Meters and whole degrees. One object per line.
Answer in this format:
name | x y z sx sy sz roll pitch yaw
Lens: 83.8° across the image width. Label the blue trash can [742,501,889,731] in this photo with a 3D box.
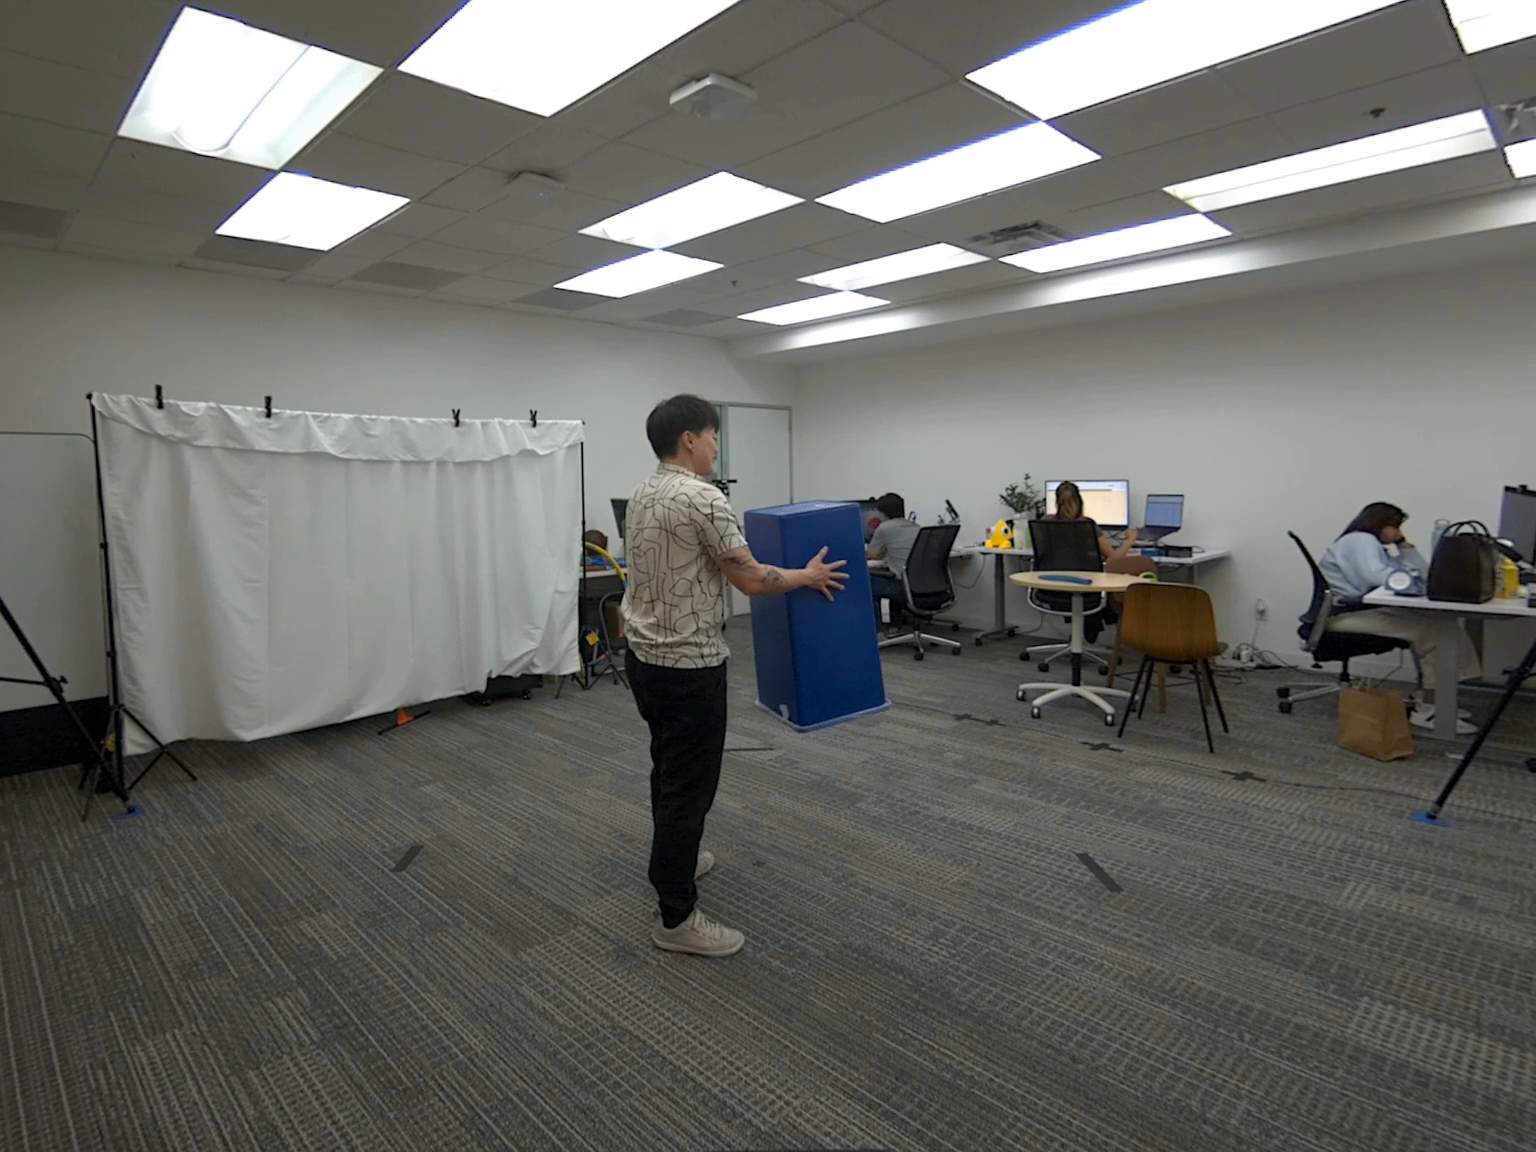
blue trash can | 0.145 0.109 2.967 0.371 0.709 0.383 -9 7 -24
